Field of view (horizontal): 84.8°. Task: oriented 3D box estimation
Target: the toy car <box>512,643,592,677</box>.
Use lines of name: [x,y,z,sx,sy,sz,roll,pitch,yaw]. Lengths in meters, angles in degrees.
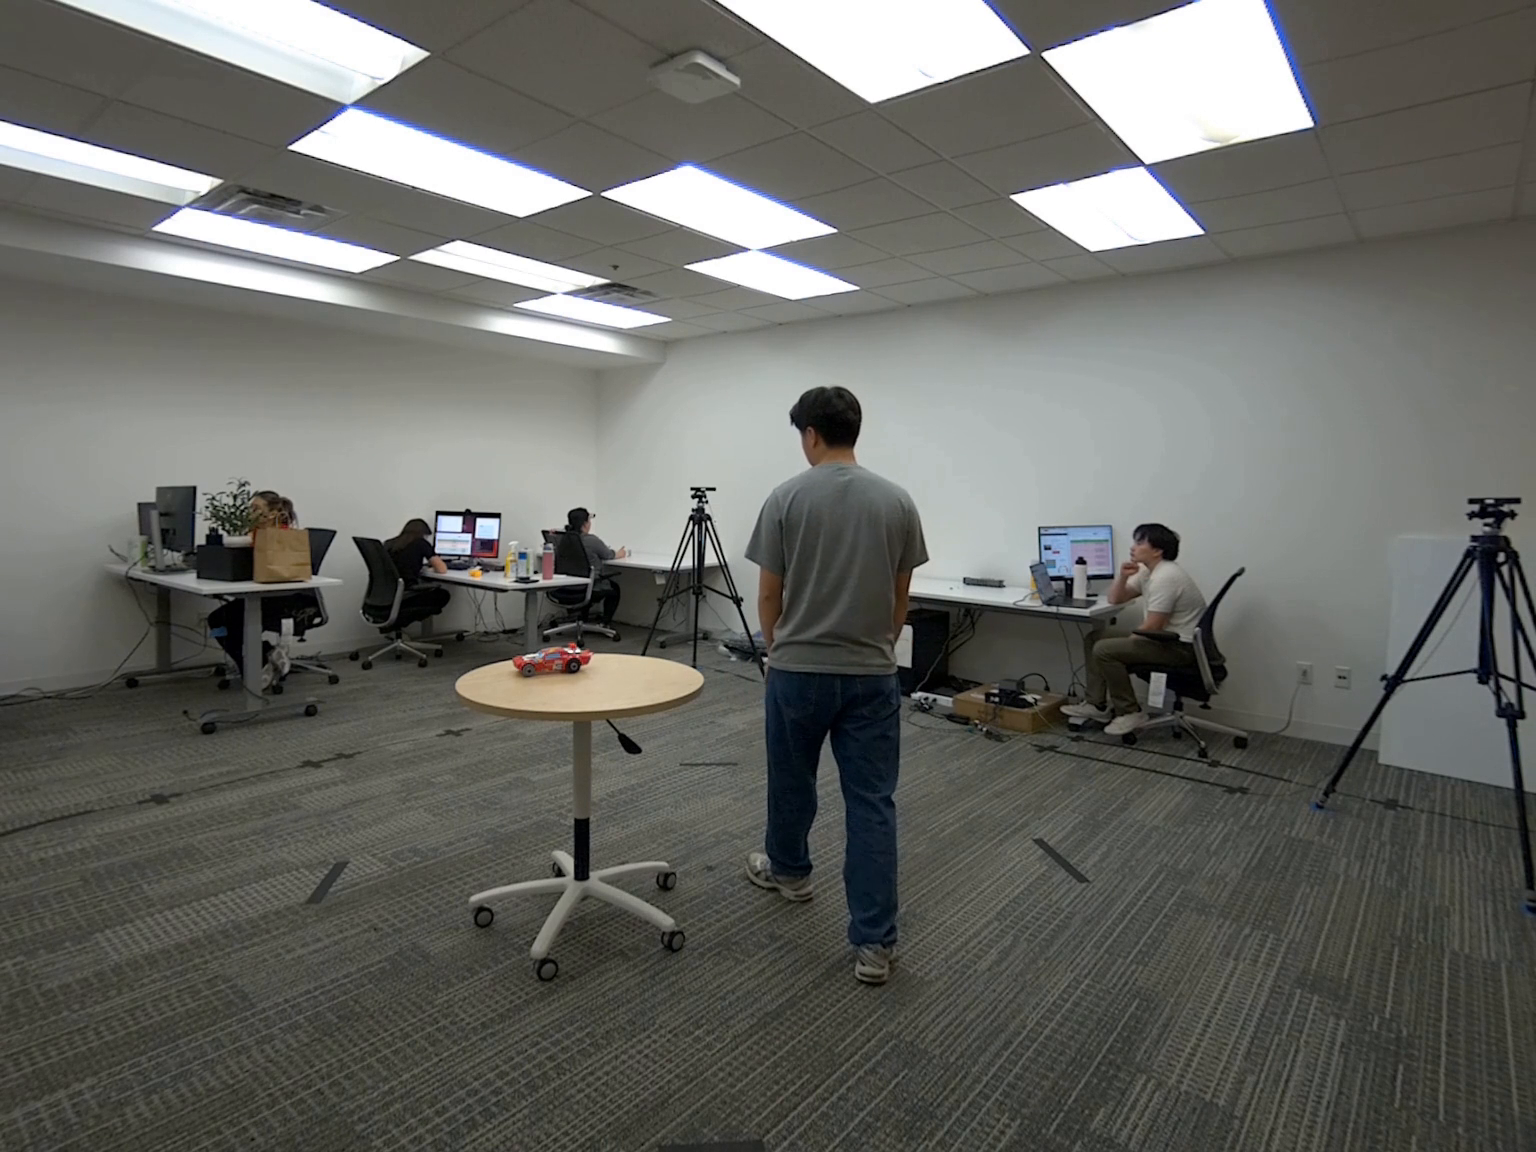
toy car: [-0.712,0.276,2.765,0.250,0.082,0.134,-14,11,-23]
